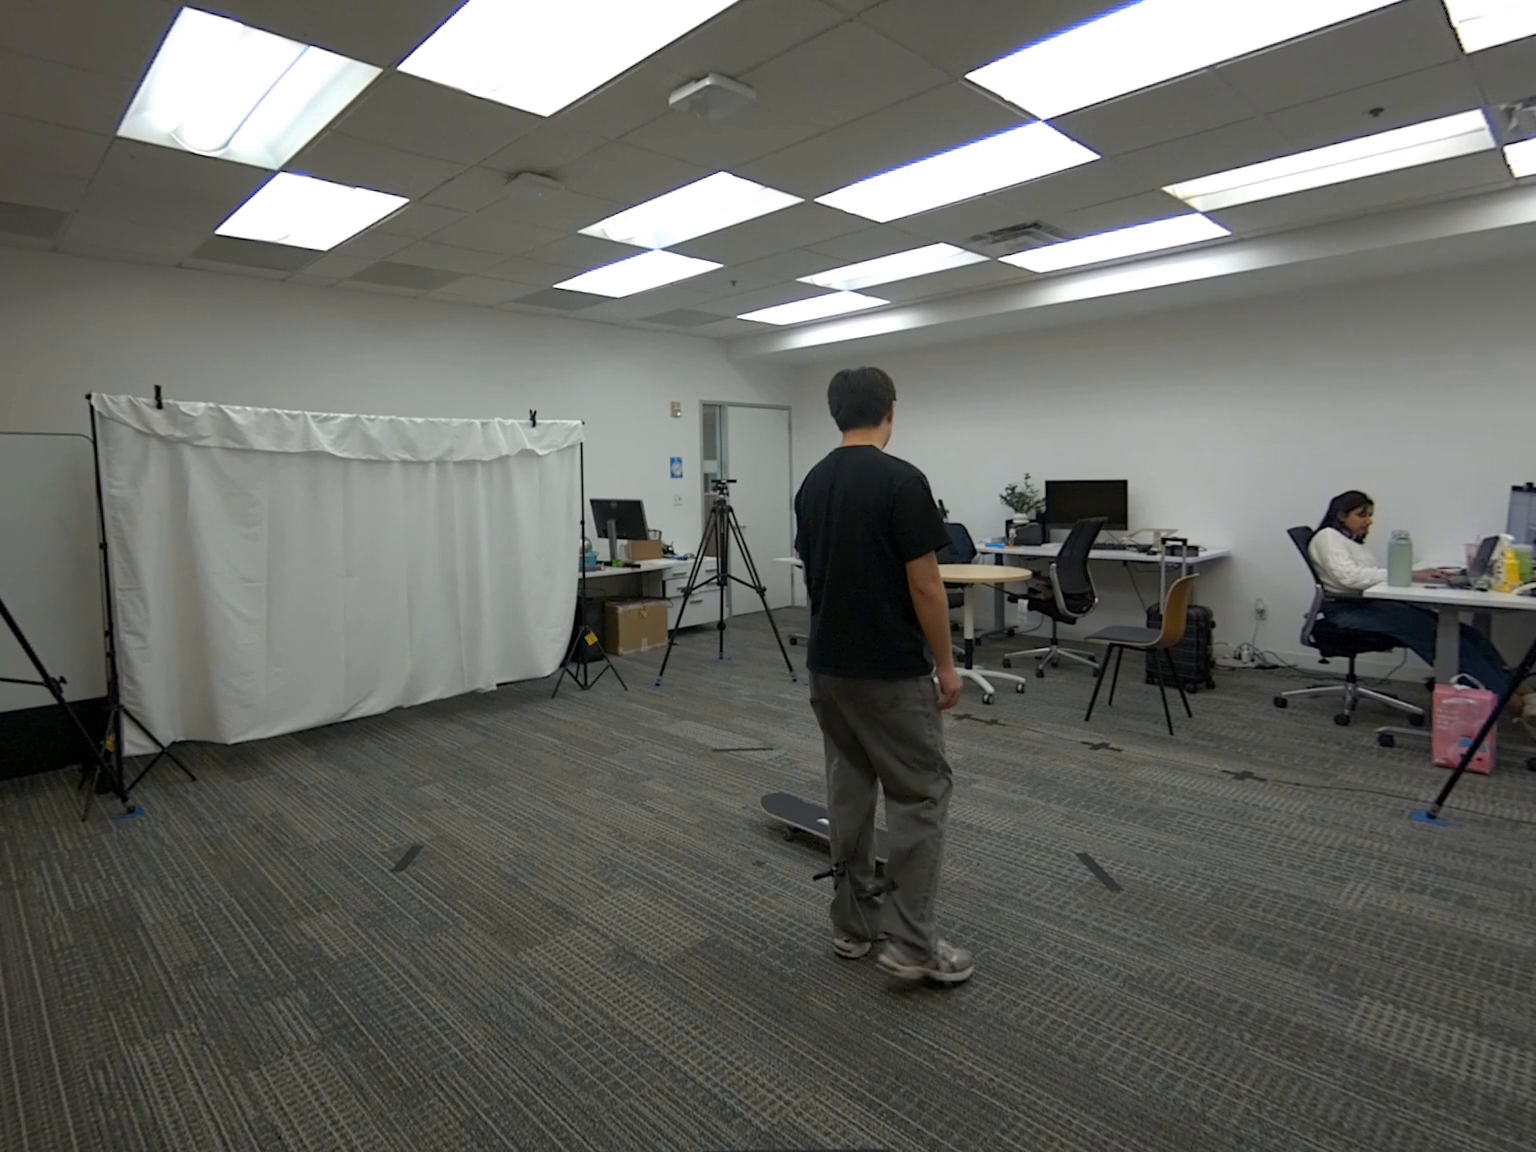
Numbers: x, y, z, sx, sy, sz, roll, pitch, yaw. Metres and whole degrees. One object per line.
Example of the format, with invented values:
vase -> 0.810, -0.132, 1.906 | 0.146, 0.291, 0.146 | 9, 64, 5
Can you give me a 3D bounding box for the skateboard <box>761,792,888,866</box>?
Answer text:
skateboard -> 0.273, 0.978, 3.199 | 0.188, 0.110, 0.810 | -7, 9, -41
